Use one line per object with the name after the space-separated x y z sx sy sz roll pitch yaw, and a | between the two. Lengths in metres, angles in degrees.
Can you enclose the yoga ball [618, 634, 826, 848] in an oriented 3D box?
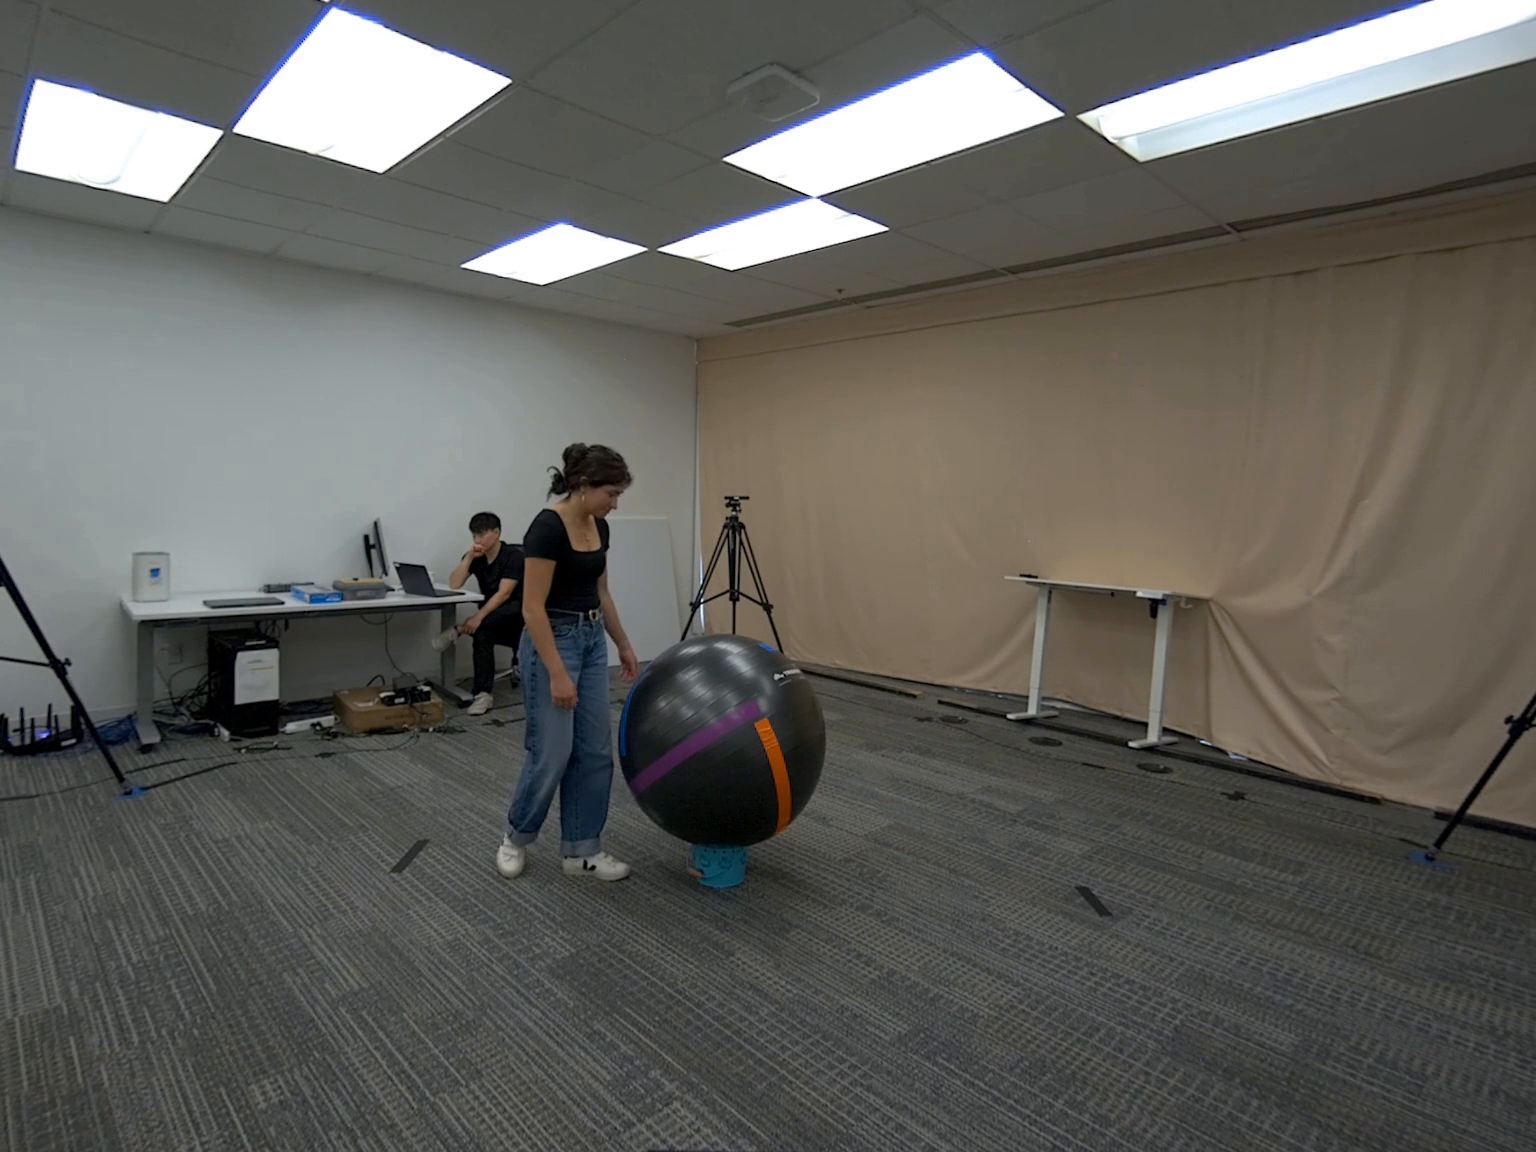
-0.167 0.592 3.068 0.757 0.756 0.760 1 4 -1 | yoga ball
